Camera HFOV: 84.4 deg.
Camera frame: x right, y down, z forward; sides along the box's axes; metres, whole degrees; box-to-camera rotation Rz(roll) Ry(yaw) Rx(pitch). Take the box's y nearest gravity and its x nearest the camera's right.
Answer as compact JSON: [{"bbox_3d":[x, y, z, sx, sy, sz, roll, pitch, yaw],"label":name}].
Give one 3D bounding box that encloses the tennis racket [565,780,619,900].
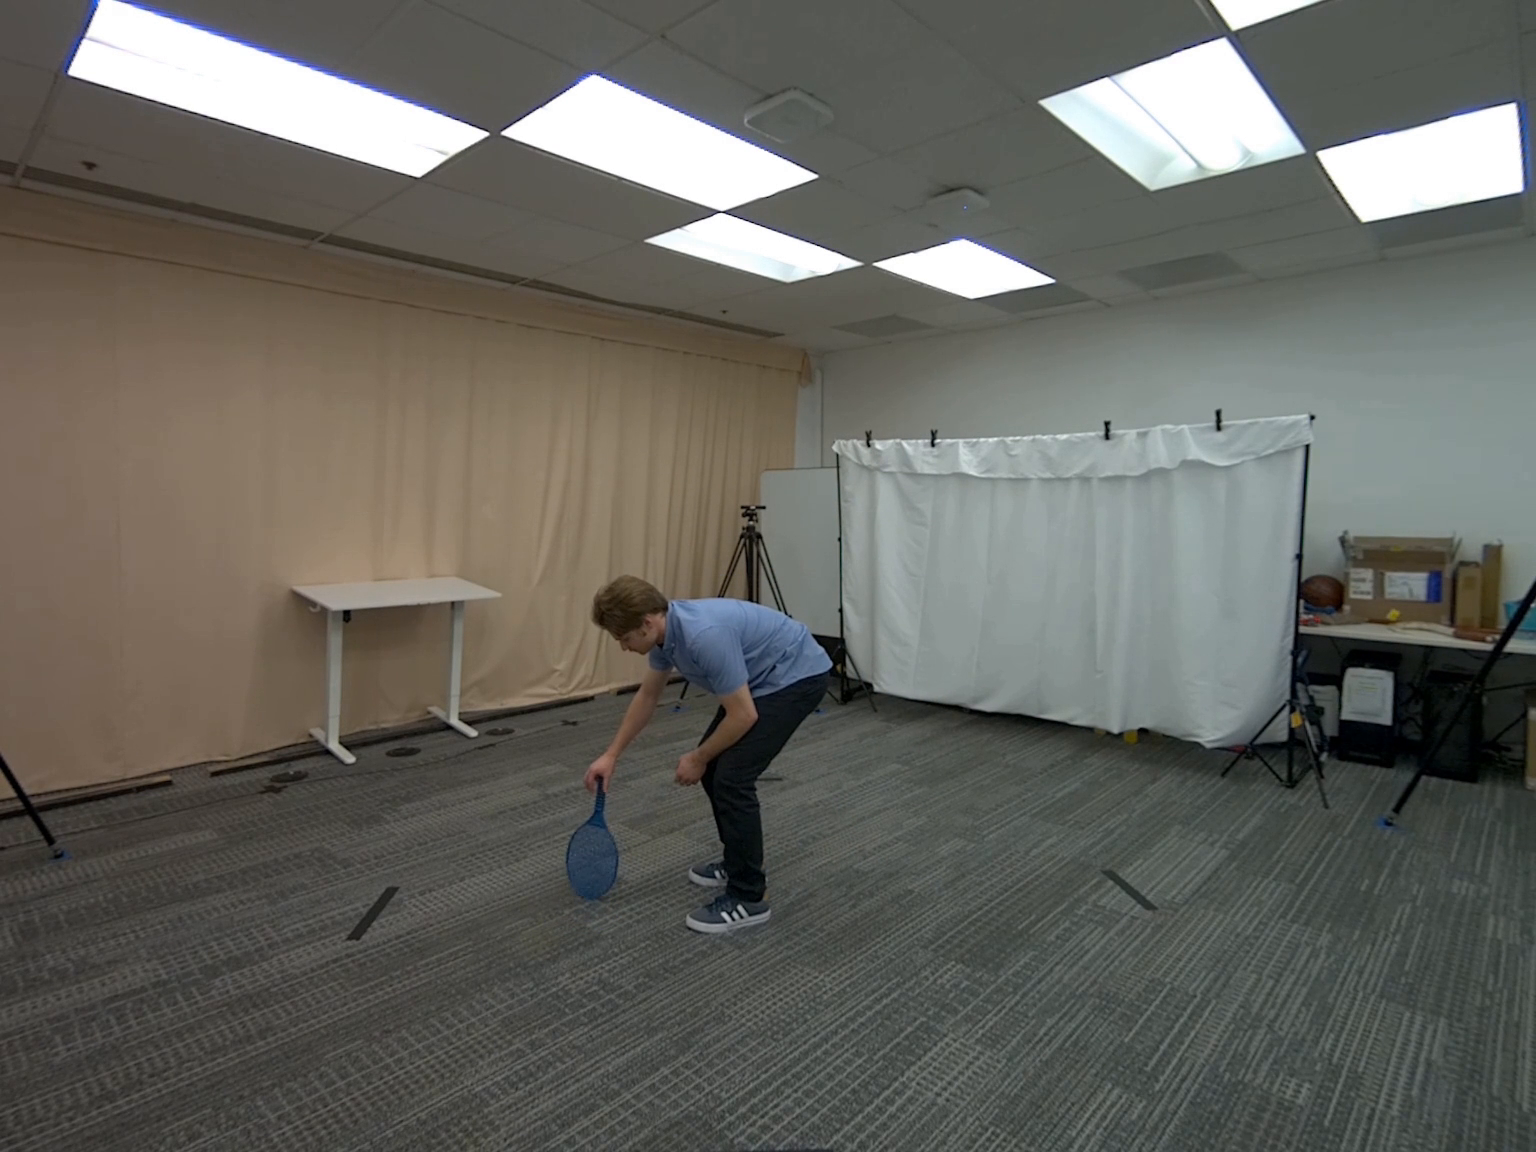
[{"bbox_3d":[-0.607,0.928,3.005,0.219,0.433,0.031,6,-3,23],"label":"tennis racket"}]
